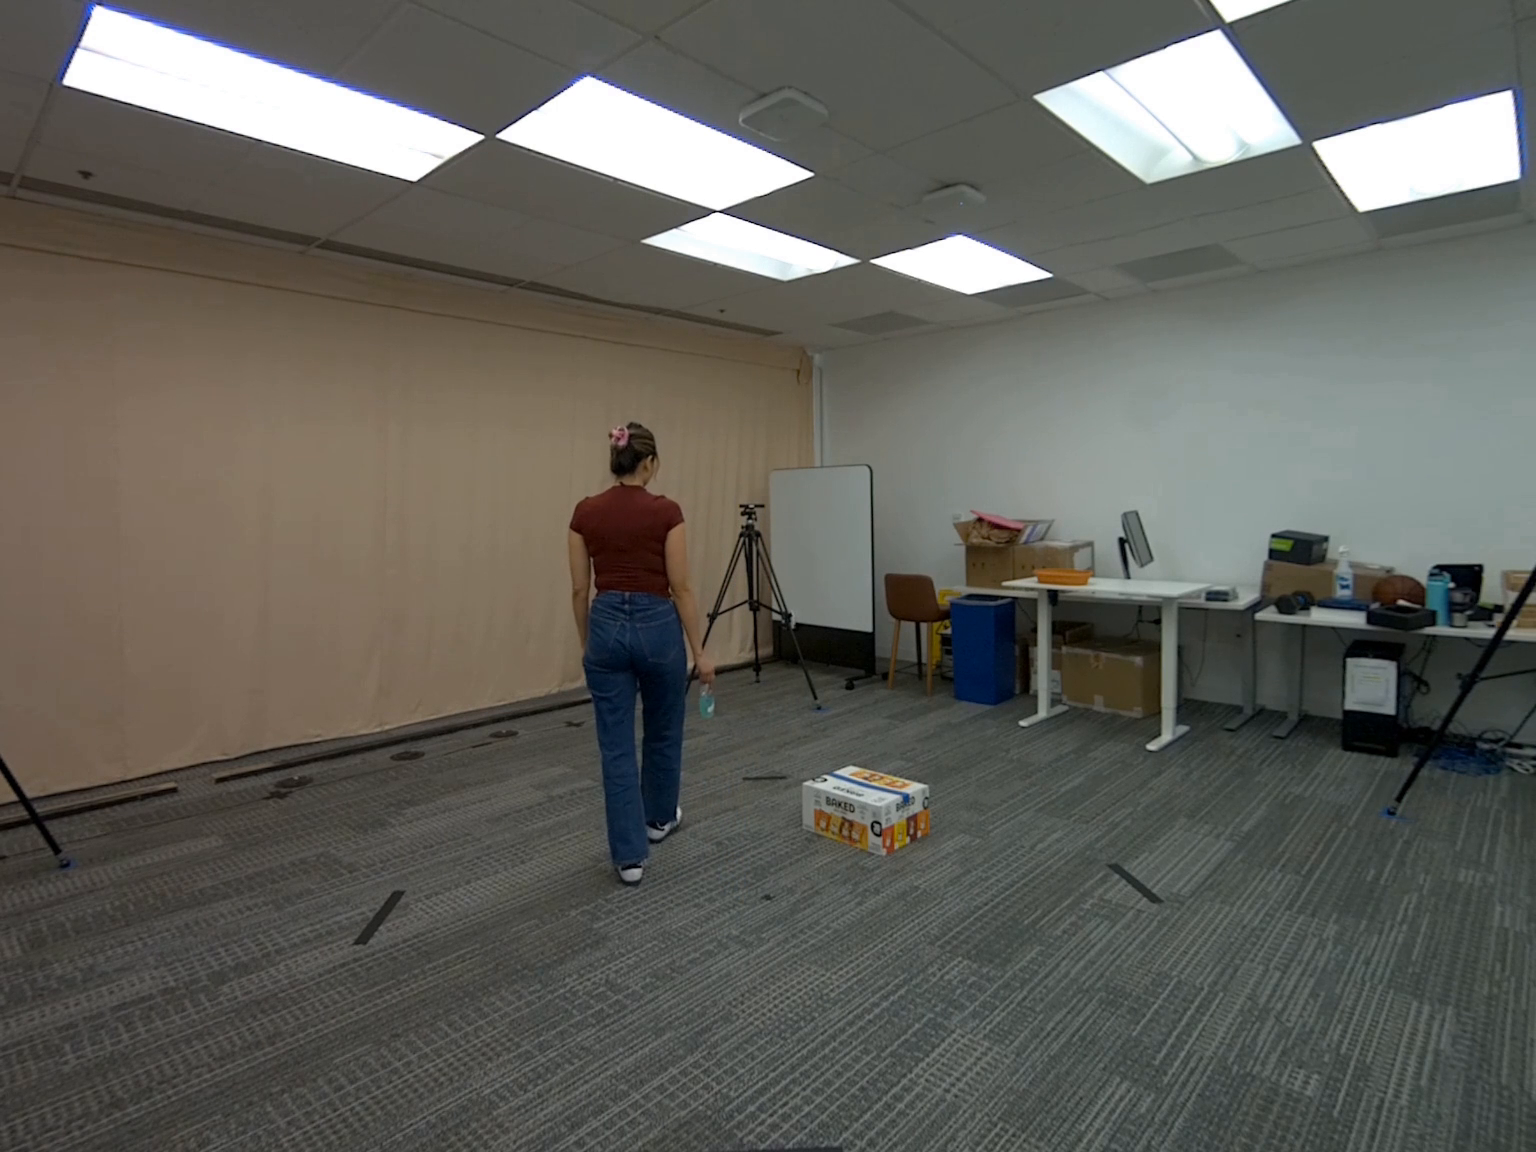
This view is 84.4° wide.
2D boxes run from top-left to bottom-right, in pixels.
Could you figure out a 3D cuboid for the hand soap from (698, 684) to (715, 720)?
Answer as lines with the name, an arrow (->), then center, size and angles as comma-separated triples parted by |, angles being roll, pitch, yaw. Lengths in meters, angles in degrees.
hand soap -> -0.233, 0.464, 3.276 | 0.044, 0.166, 0.083 | 6, 16, 23
